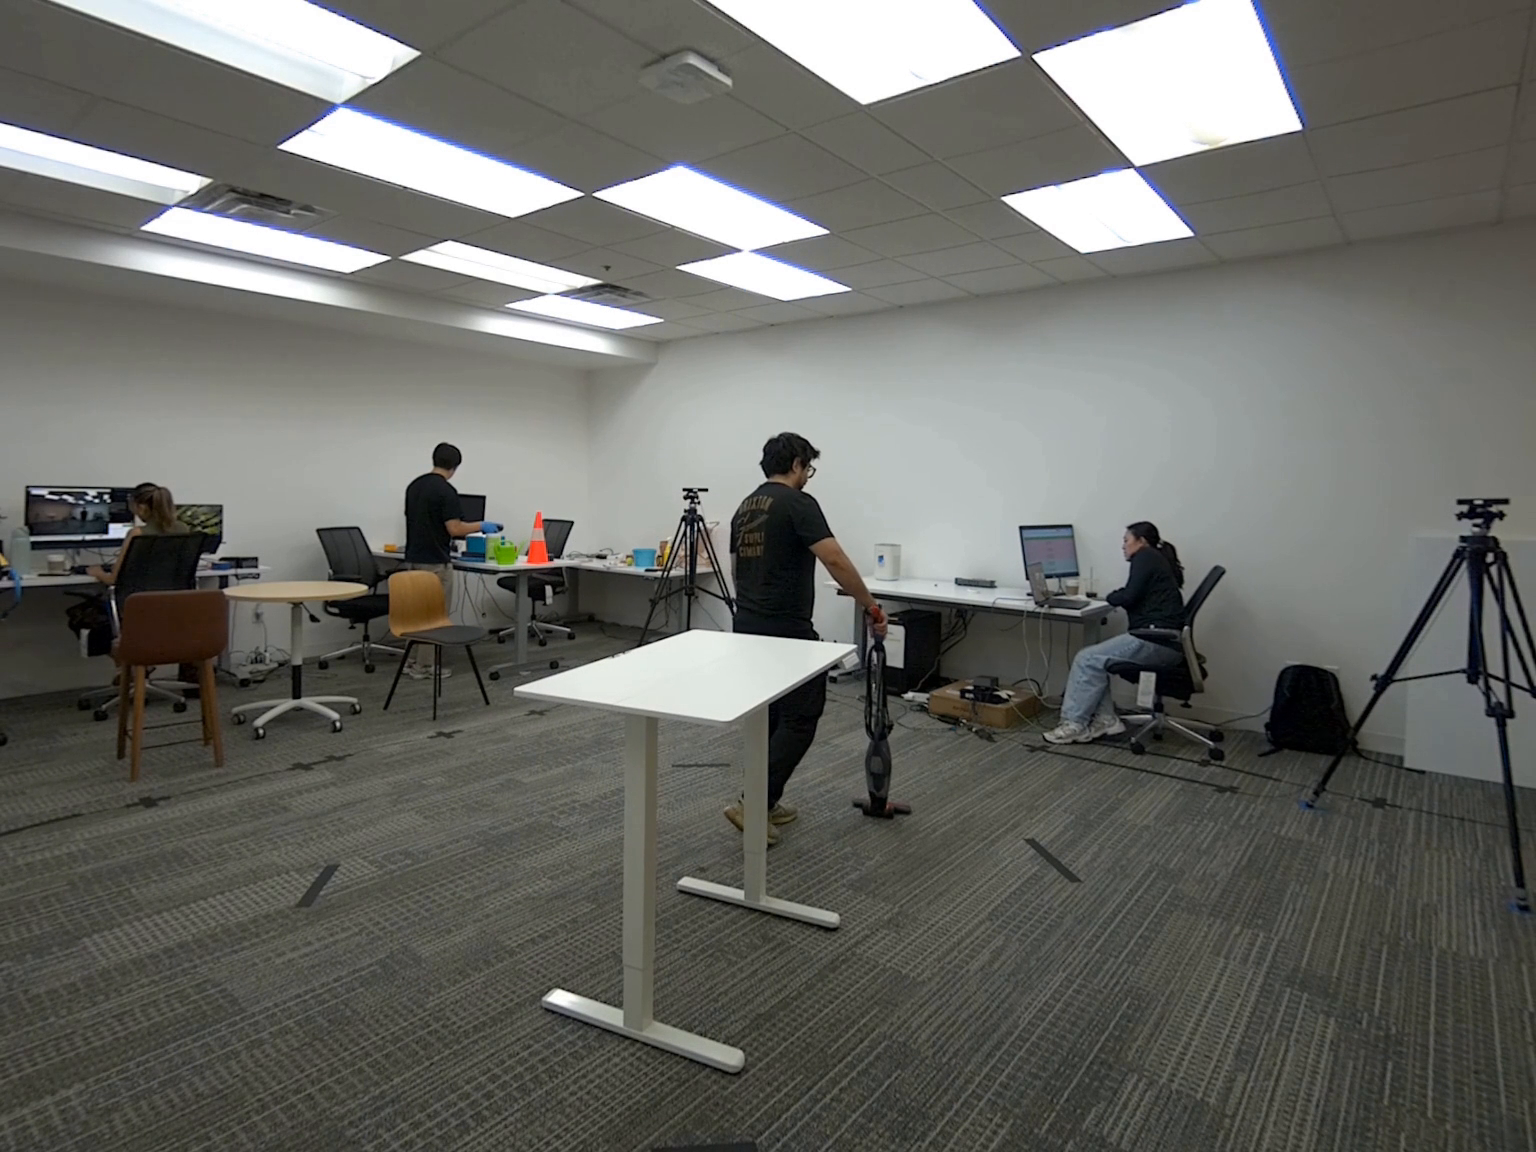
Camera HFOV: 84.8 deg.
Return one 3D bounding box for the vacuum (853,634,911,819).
[{"bbox_3d":[0.441,0.571,3.483,0.259,1.023,0.144,5,28,23],"label":"vacuum"}]
